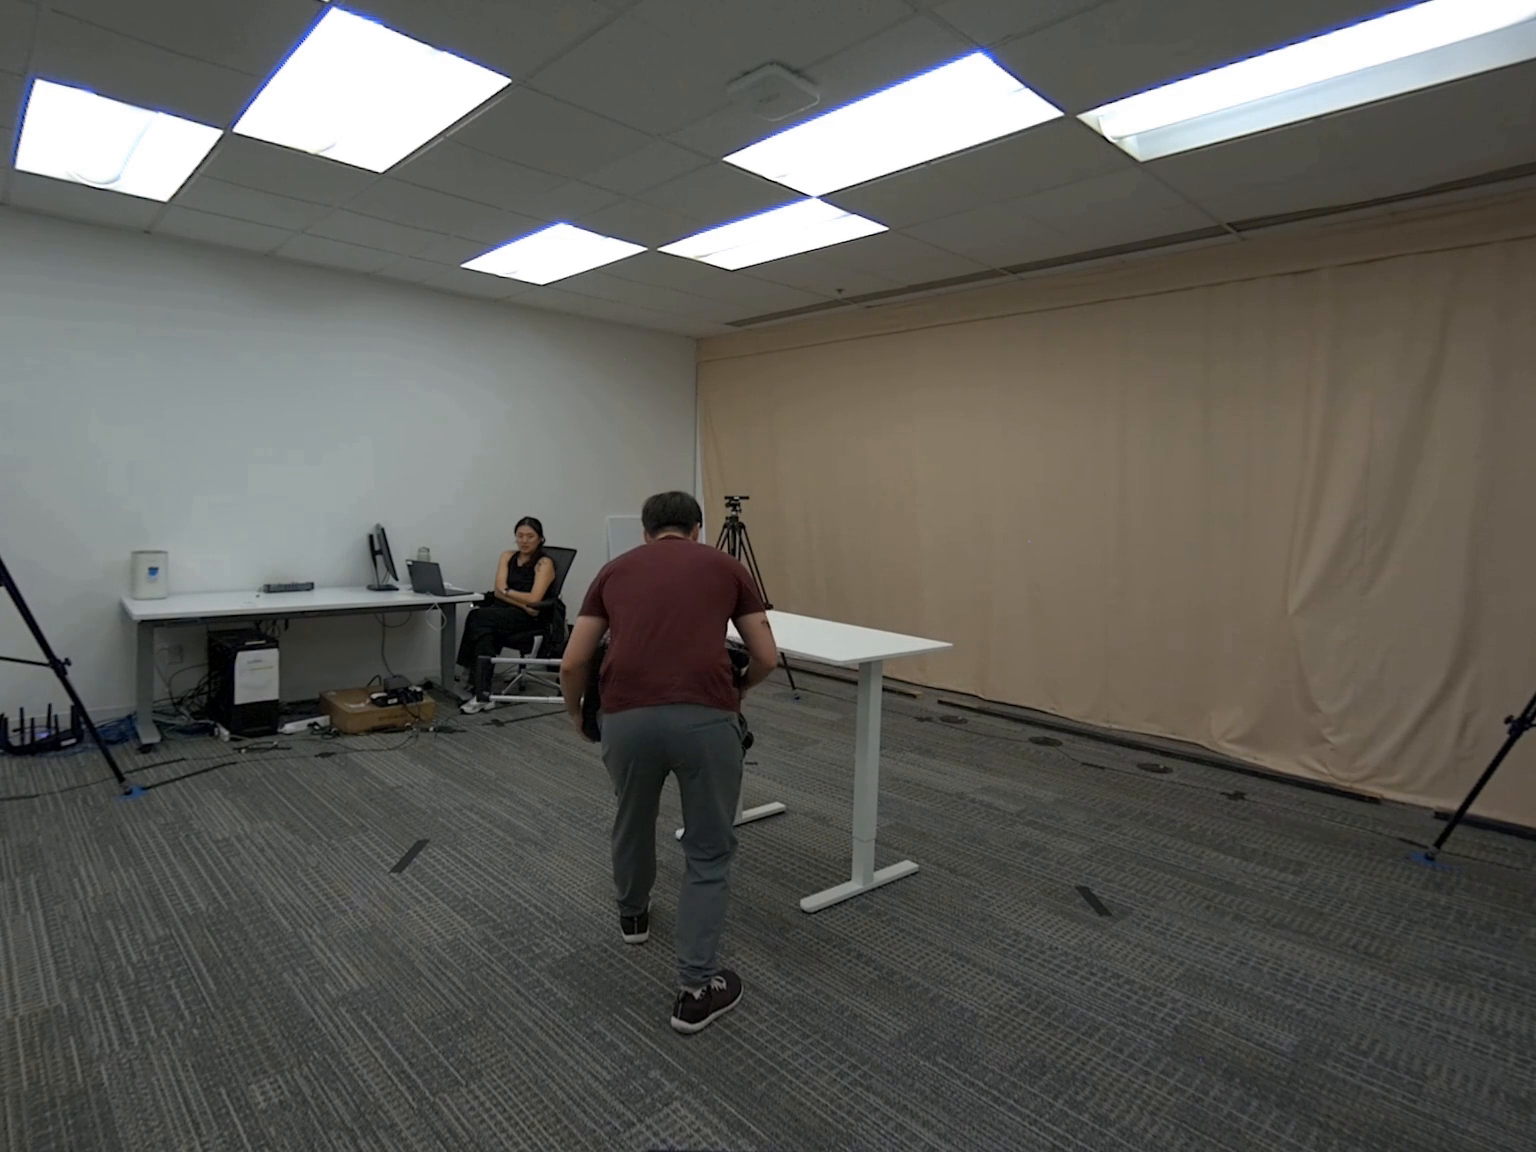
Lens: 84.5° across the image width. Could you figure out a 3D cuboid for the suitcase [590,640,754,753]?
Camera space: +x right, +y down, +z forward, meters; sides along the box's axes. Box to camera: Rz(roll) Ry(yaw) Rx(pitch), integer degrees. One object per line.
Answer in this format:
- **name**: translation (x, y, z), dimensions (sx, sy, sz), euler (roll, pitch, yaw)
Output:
- **suitcase**: translation (-0.540, 0.362, 2.789), dimensions (0.986, 0.384, 0.255), euler (4, 1, 9)
